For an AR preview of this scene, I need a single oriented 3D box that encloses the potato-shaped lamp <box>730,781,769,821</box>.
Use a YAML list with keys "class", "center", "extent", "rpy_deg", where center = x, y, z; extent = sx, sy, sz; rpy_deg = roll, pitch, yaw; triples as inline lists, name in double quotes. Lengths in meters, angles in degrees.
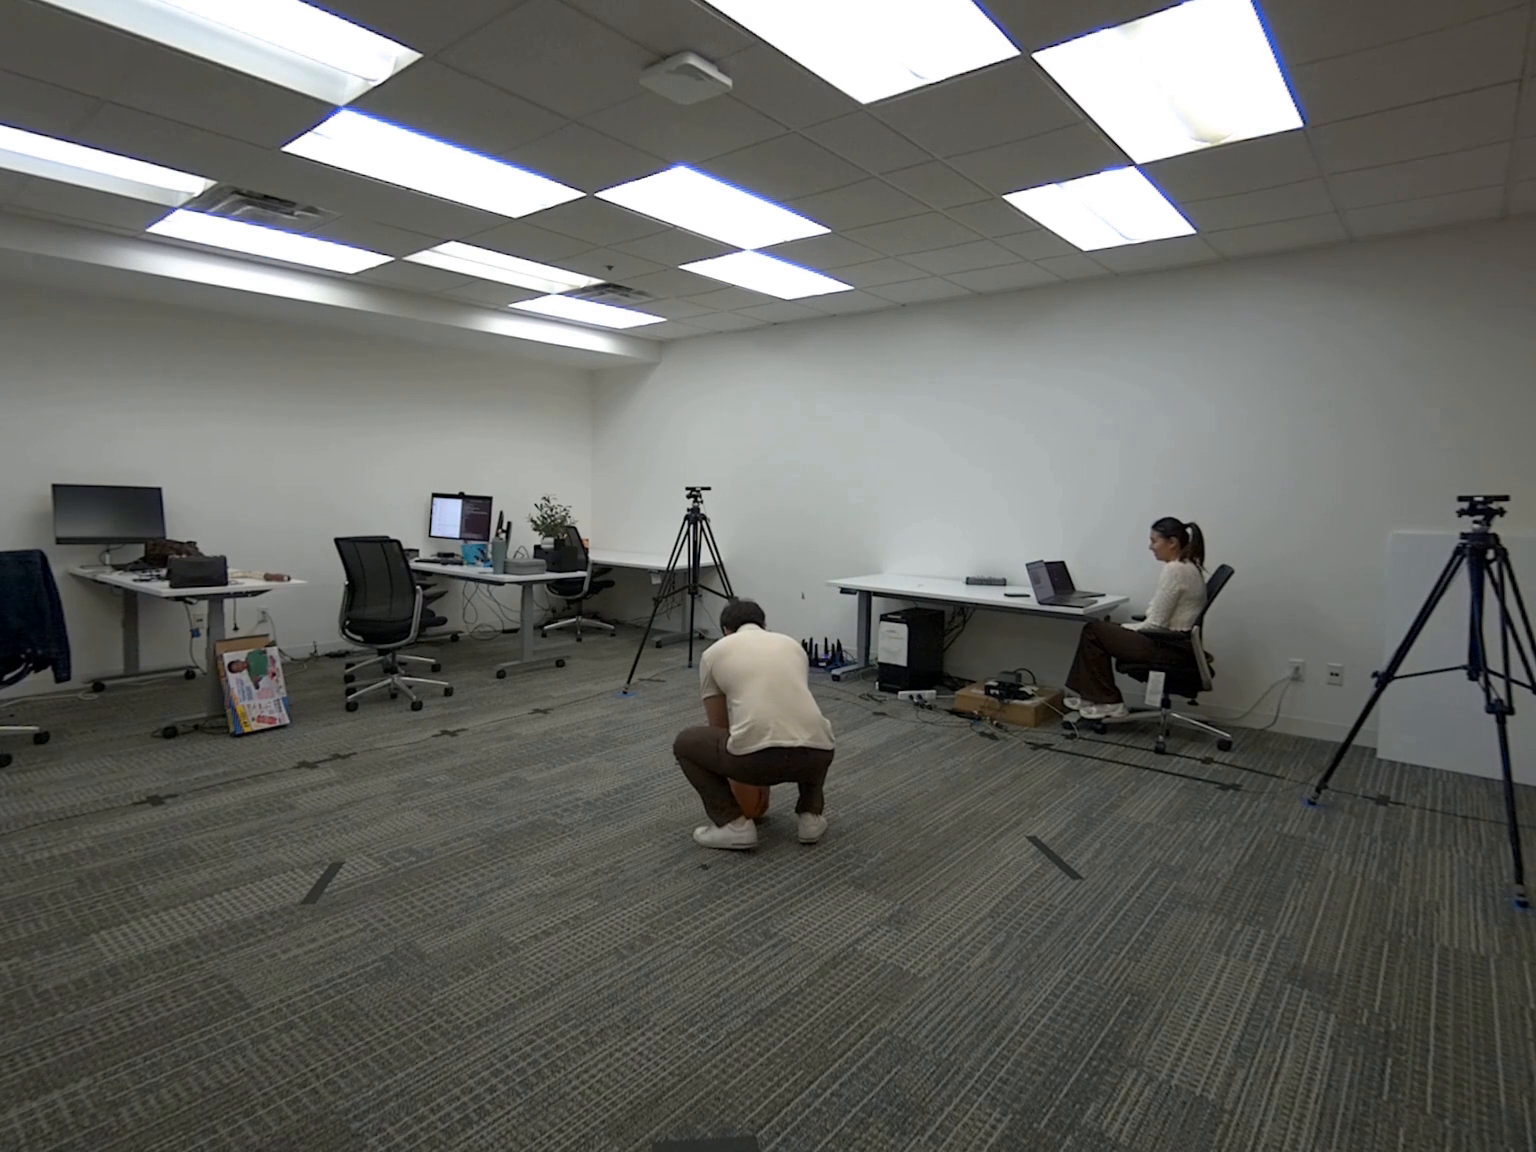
- class: "potato-shaped lamp"
  center: [-0.113, 0.920, 3.604]
  extent: [0.168, 0.197, 0.169]
  rpy_deg: [-1, 3, 18]
